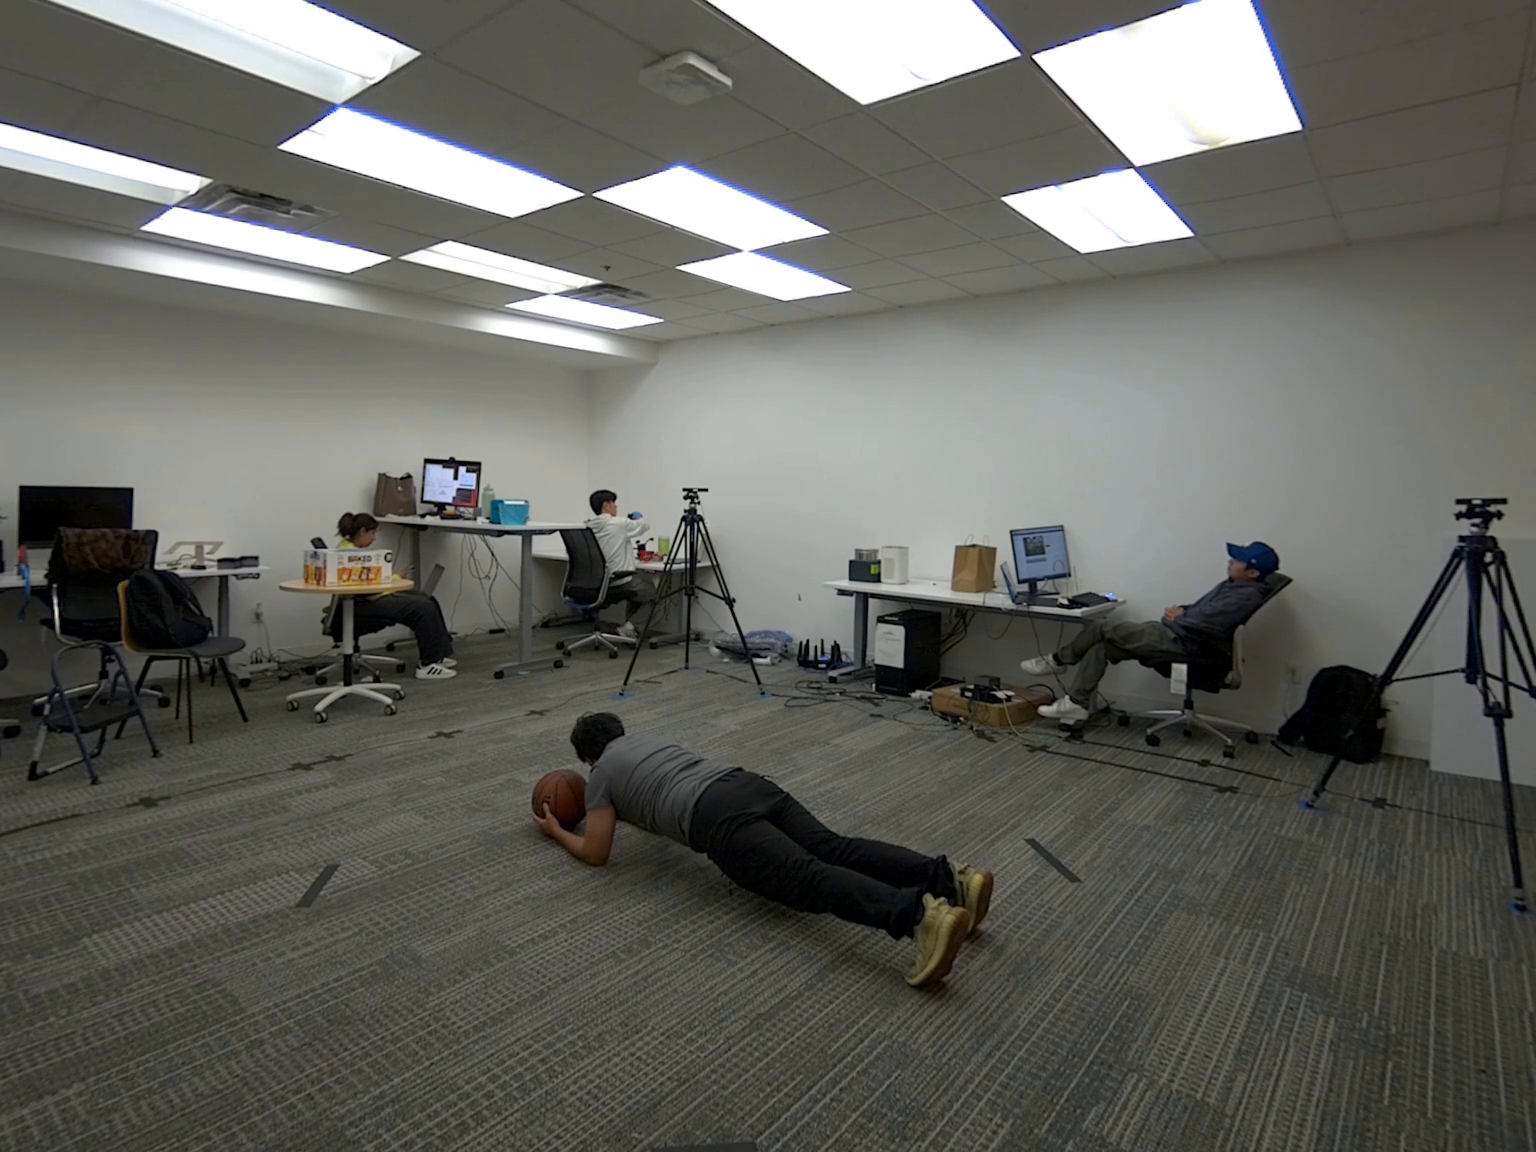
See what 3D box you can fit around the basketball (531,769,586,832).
[{"bbox_3d":[-0.856,0.907,3.463,0.235,0.235,0.237,1,4,-2],"label":"basketball"}]
